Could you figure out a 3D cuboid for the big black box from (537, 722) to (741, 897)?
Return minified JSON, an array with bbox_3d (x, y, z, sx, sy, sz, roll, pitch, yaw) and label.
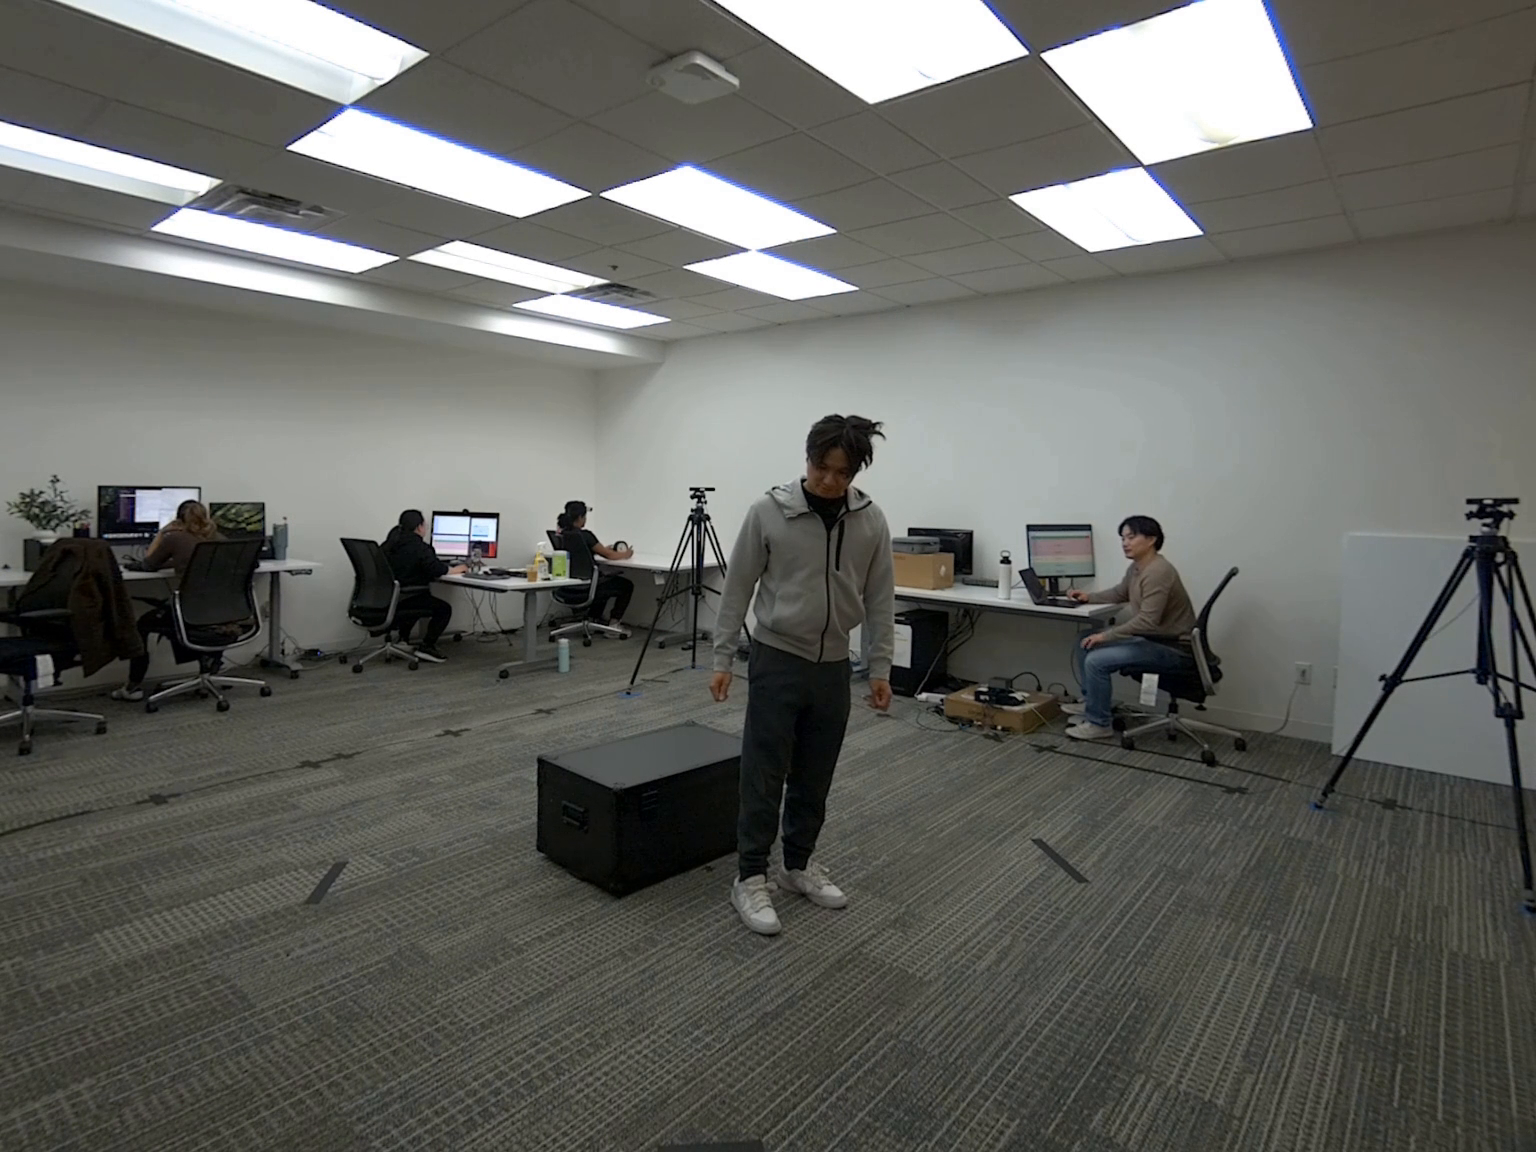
[{"bbox_3d":[-0.417,0.856,3.295,0.539,0.394,0.836,6,7,43],"label":"big black box"}]
